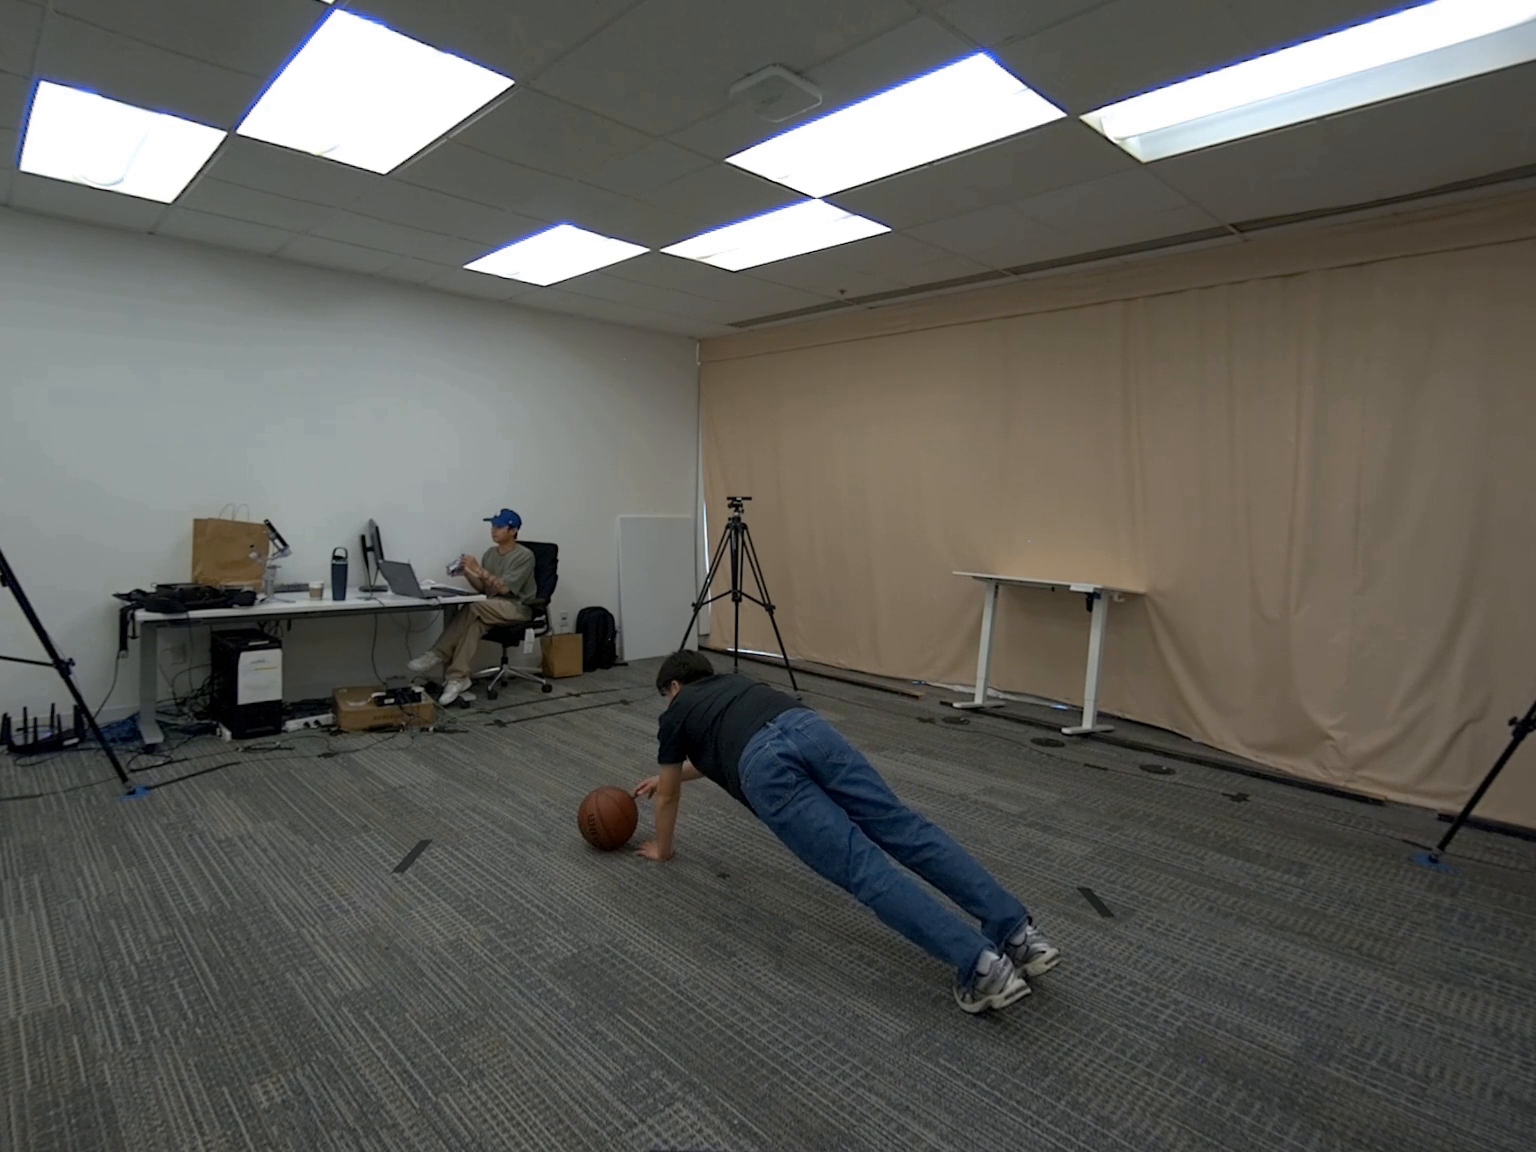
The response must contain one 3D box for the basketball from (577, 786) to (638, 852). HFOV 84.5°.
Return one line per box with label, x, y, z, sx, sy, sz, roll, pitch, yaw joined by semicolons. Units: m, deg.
basketball;-0.635;0.947;3.334;0.236;0.235;0.237;1;4;-1
